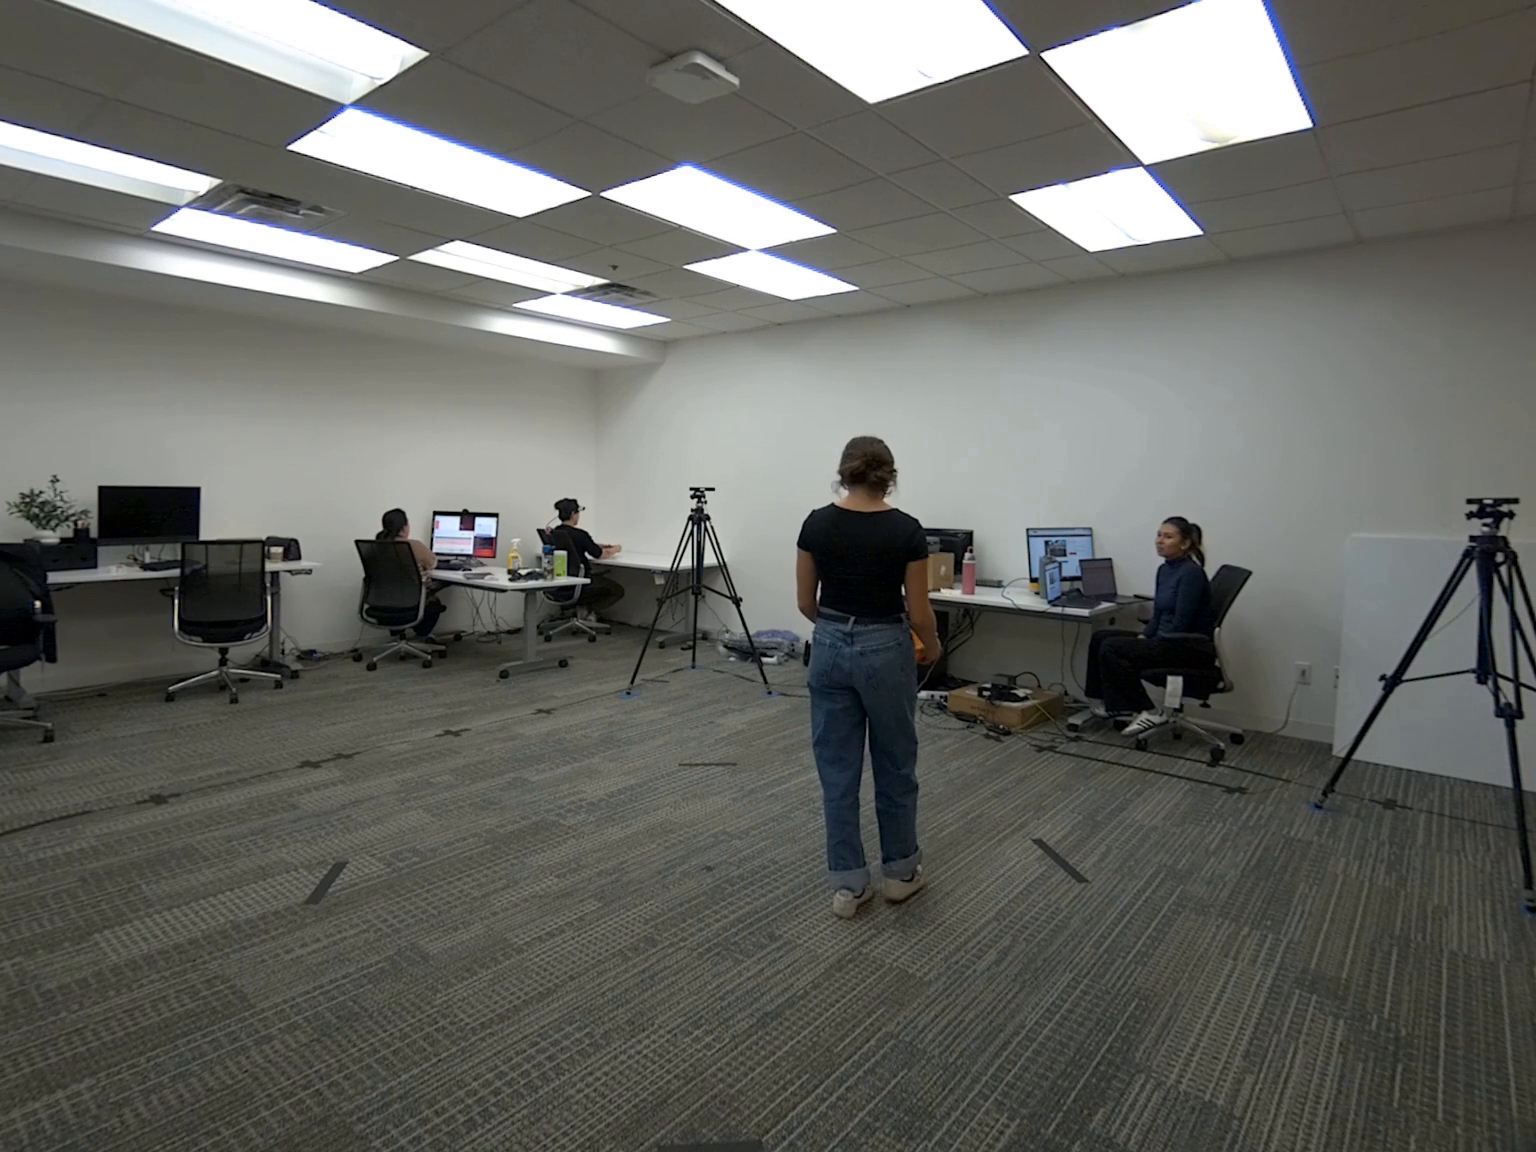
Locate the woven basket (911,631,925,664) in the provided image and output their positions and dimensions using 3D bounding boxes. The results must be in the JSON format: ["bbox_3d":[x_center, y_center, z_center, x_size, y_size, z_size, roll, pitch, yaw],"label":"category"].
[{"bbox_3d":[0.437,0.246,3.038,0.361,0.072,0.248,6,15,29],"label":"woven basket"}]
